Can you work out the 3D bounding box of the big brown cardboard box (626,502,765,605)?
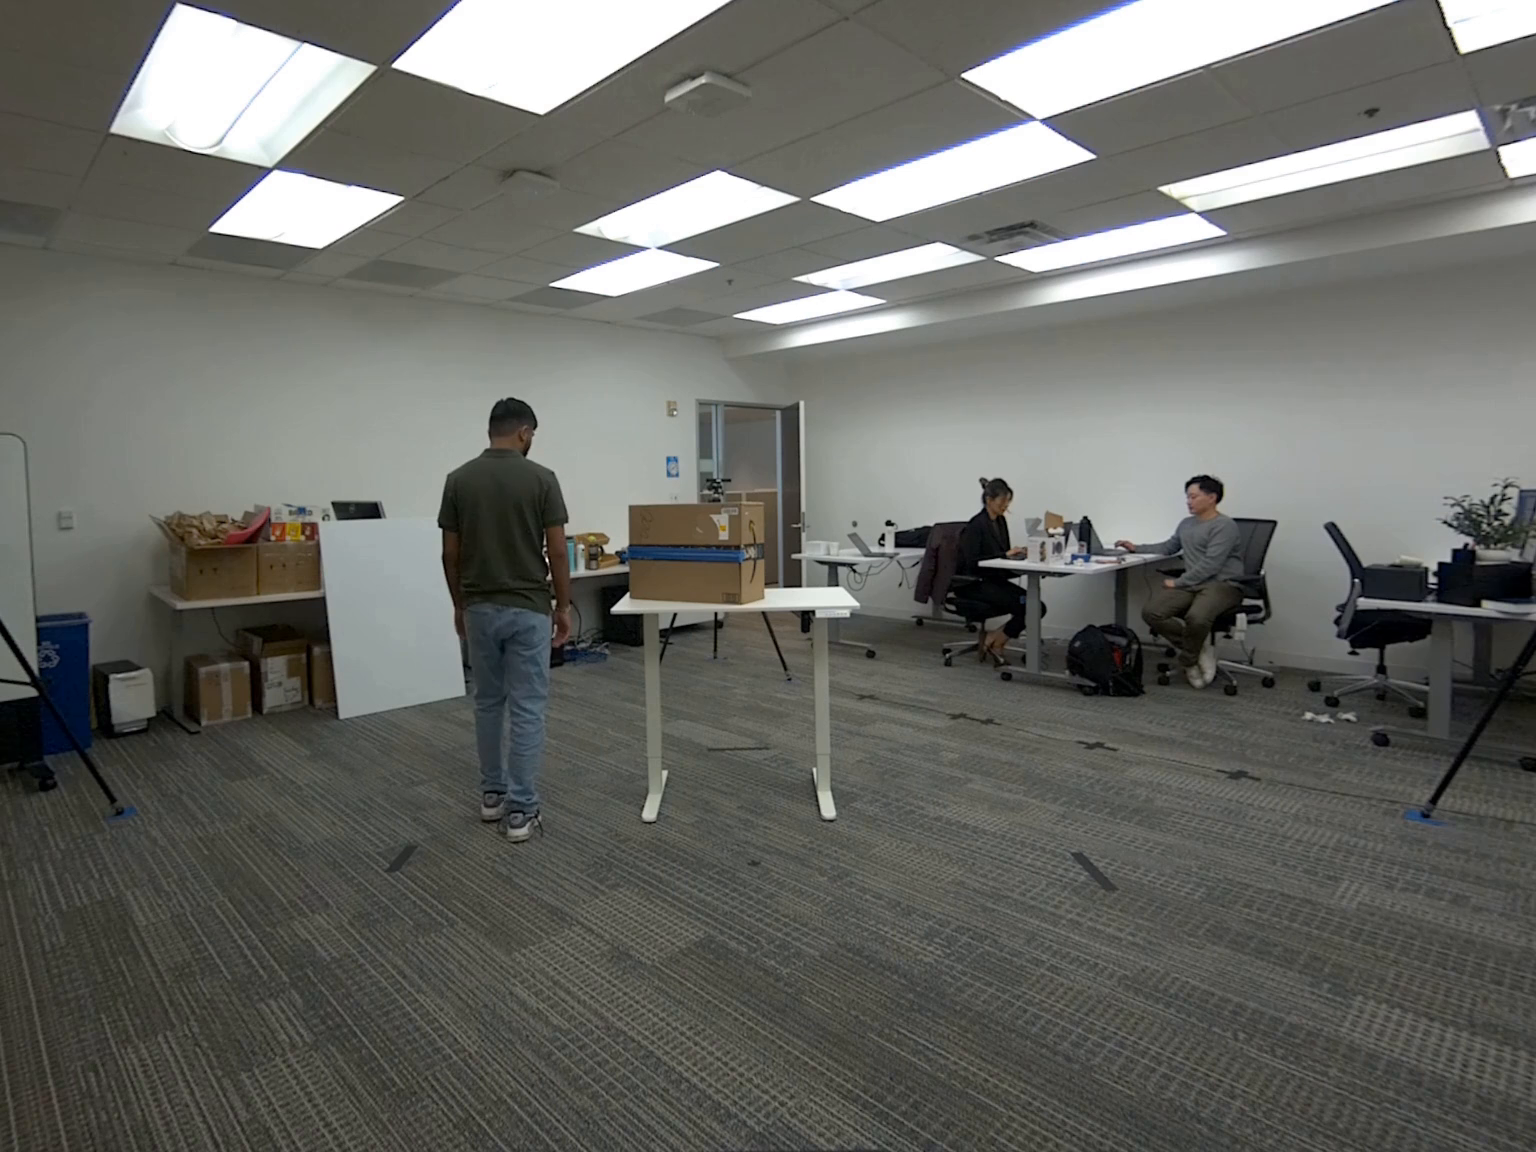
[{"bbox_3d":[-0.312,-0.105,3.706,0.604,0.417,0.228,1,3,30],"label":"big brown cardboard box"}]
